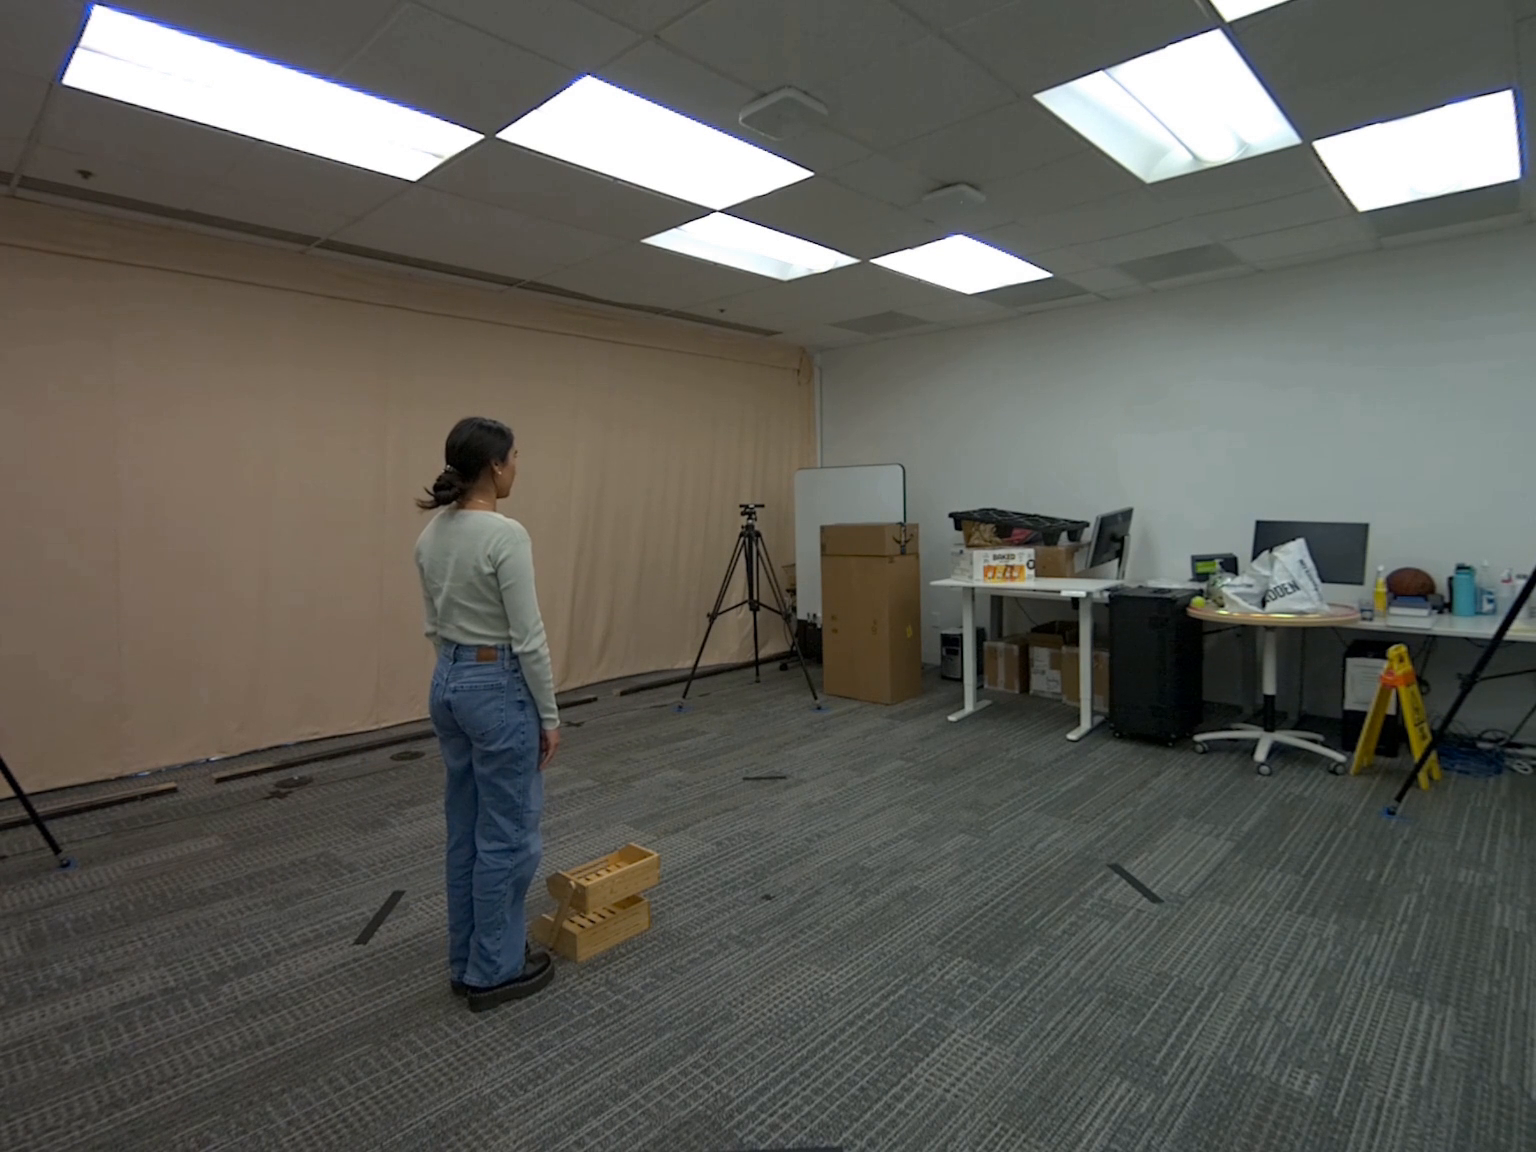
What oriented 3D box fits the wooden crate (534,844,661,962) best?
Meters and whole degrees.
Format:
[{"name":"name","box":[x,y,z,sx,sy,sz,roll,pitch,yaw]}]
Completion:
[{"name":"wooden crate","box":[-0.563,1.039,2.741,0.312,0.272,0.315,4,6,42]}]
